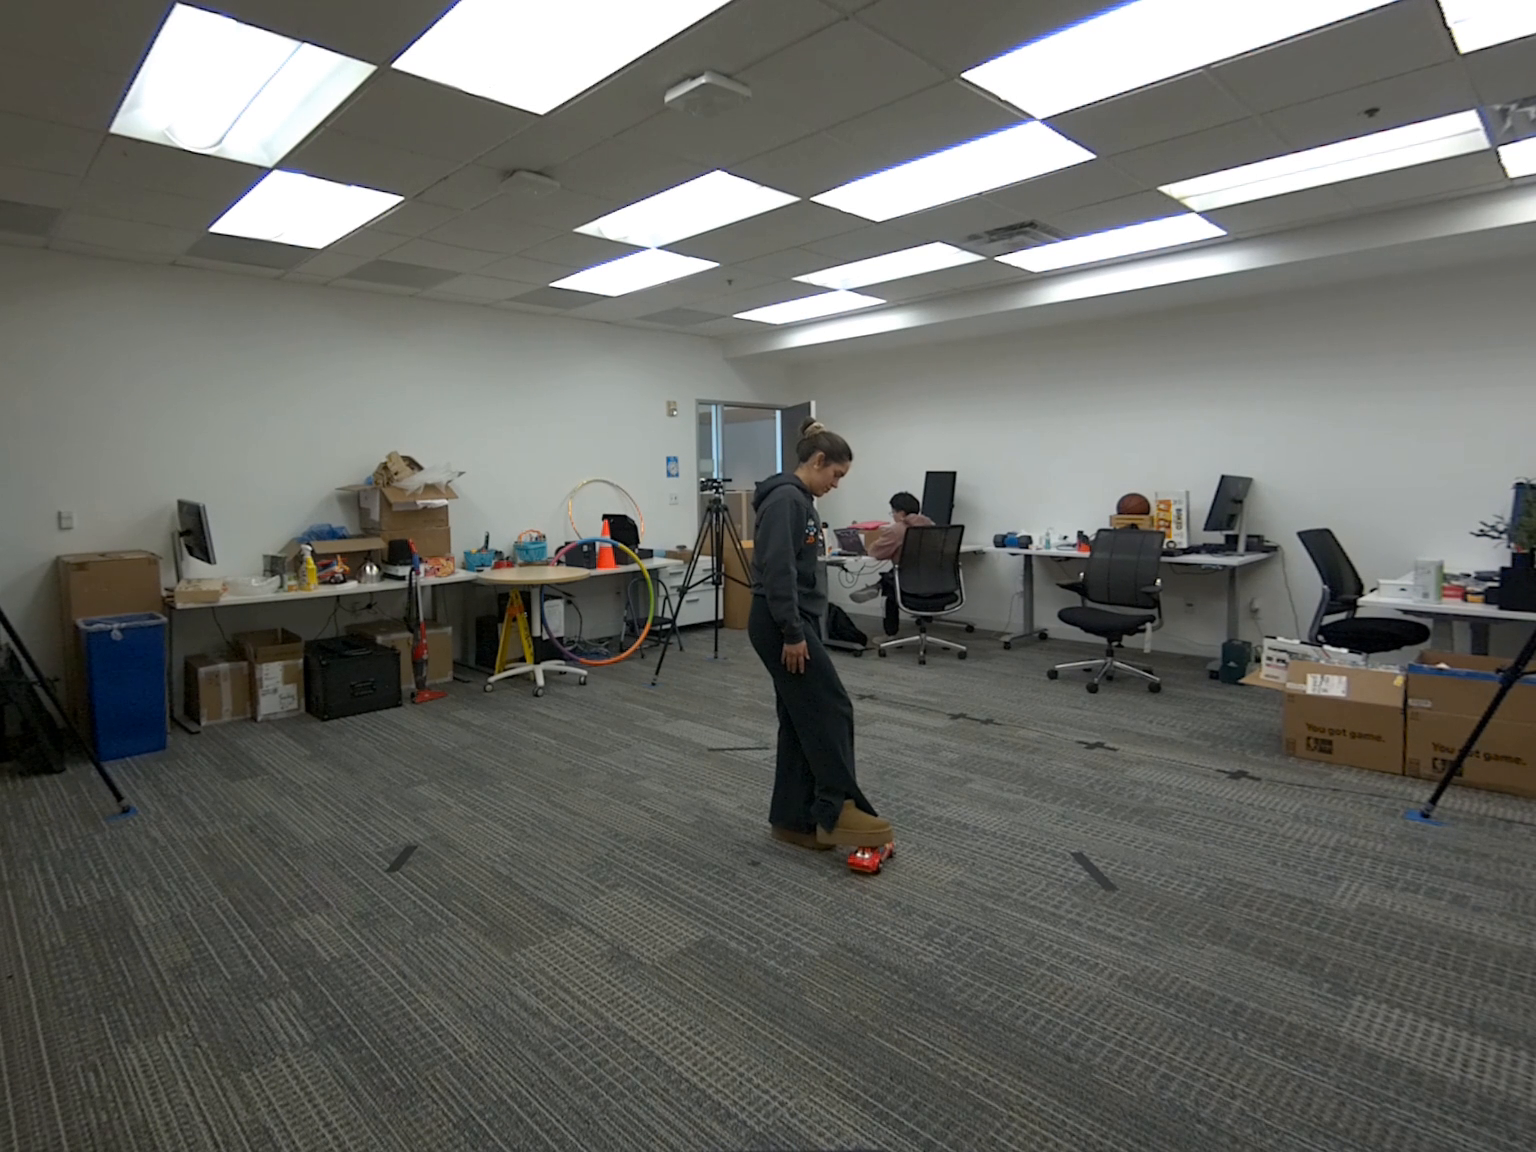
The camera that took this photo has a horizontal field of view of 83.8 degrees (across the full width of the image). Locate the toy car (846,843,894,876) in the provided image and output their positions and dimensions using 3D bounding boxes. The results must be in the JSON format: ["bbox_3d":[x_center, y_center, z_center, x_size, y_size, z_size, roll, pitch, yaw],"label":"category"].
[{"bbox_3d":[0.371,1.011,3.064,0.133,0.083,0.247,2,-5,28],"label":"toy car"}]
